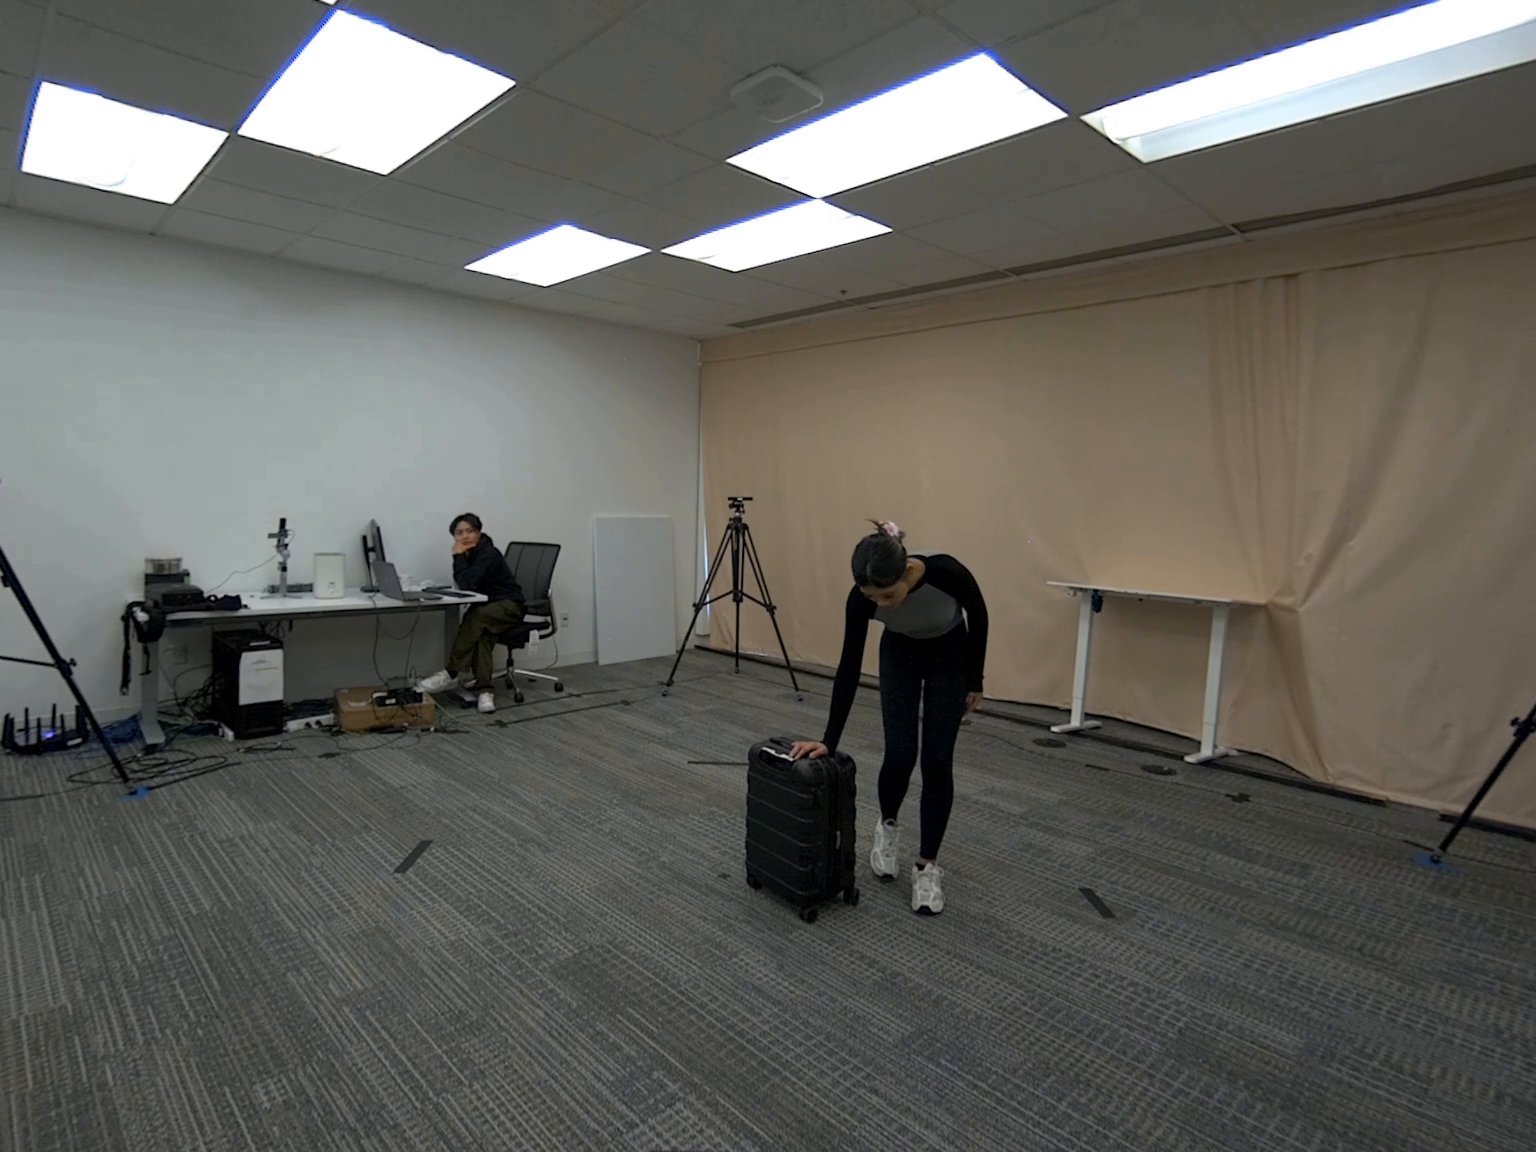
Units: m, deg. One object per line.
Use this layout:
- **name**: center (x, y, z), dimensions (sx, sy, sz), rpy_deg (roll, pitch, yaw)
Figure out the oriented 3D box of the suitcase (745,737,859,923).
- **suitcase**: center (0.107, 0.851, 2.942), dimensions (0.243, 0.547, 0.385), rpy_deg (-4, 6, -39)
